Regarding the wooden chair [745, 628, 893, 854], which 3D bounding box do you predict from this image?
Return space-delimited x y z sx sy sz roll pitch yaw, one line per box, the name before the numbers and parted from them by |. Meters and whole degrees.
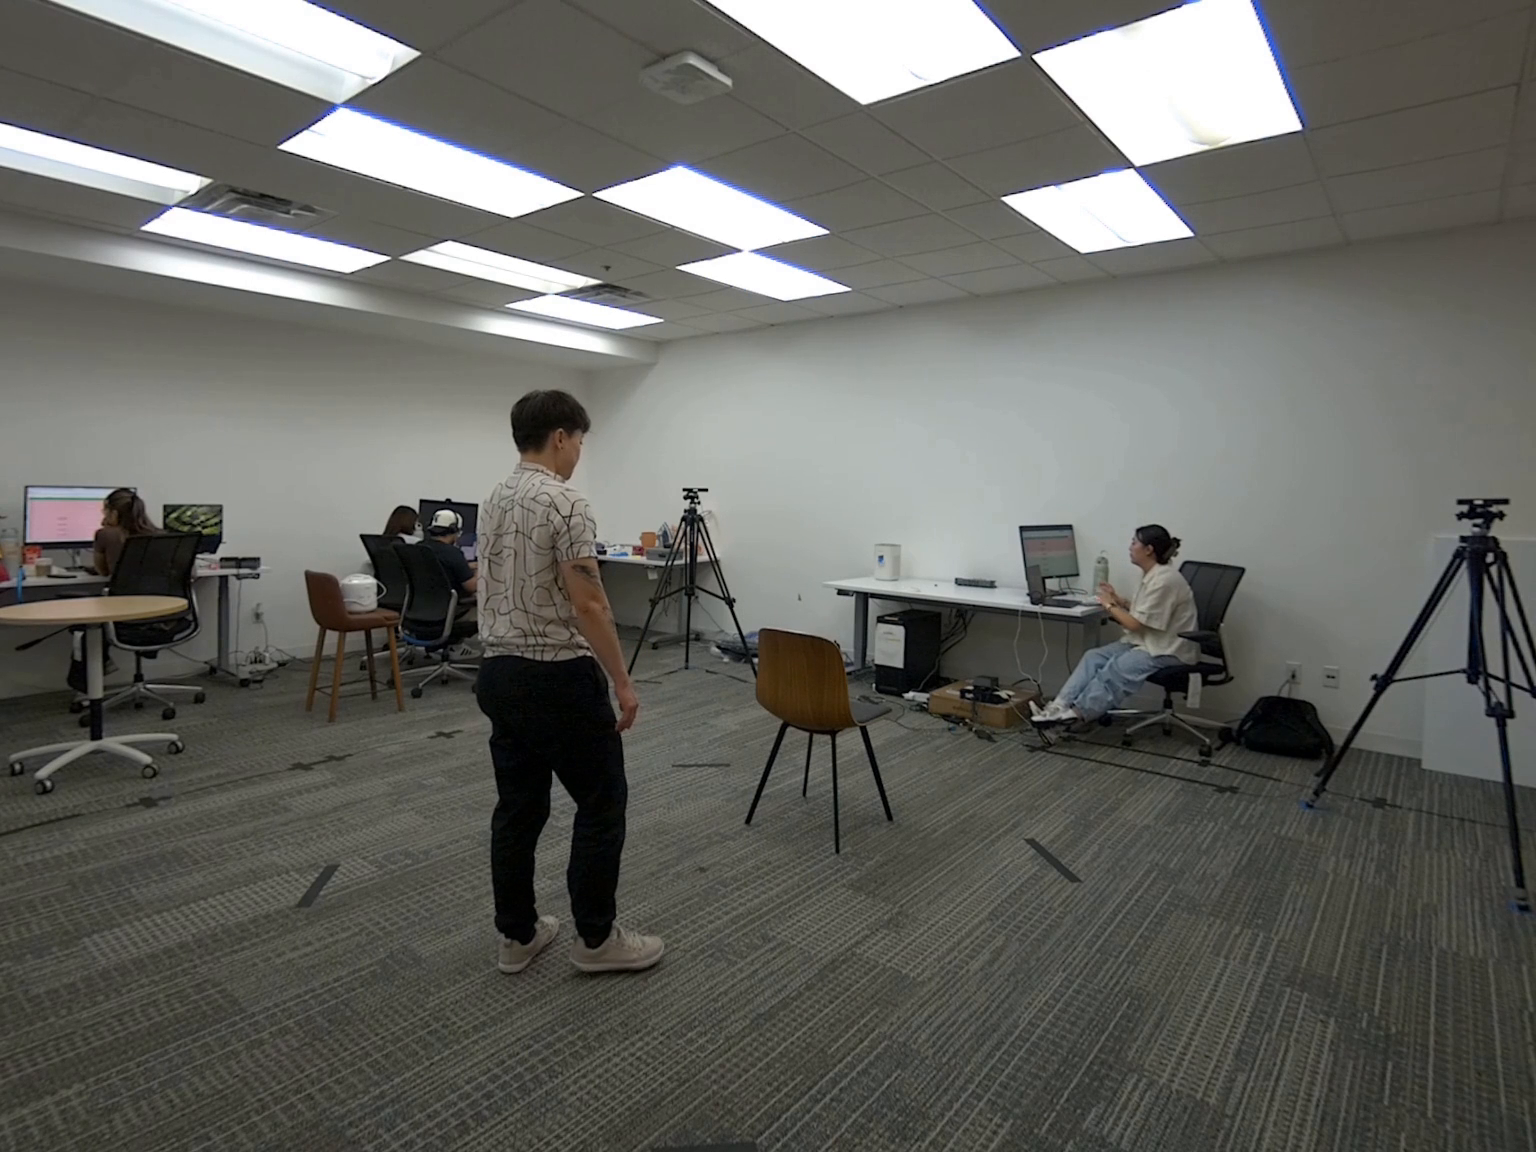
wooden chair | 0.222 0.606 3.557 0.494 0.872 0.510 3 8 37
